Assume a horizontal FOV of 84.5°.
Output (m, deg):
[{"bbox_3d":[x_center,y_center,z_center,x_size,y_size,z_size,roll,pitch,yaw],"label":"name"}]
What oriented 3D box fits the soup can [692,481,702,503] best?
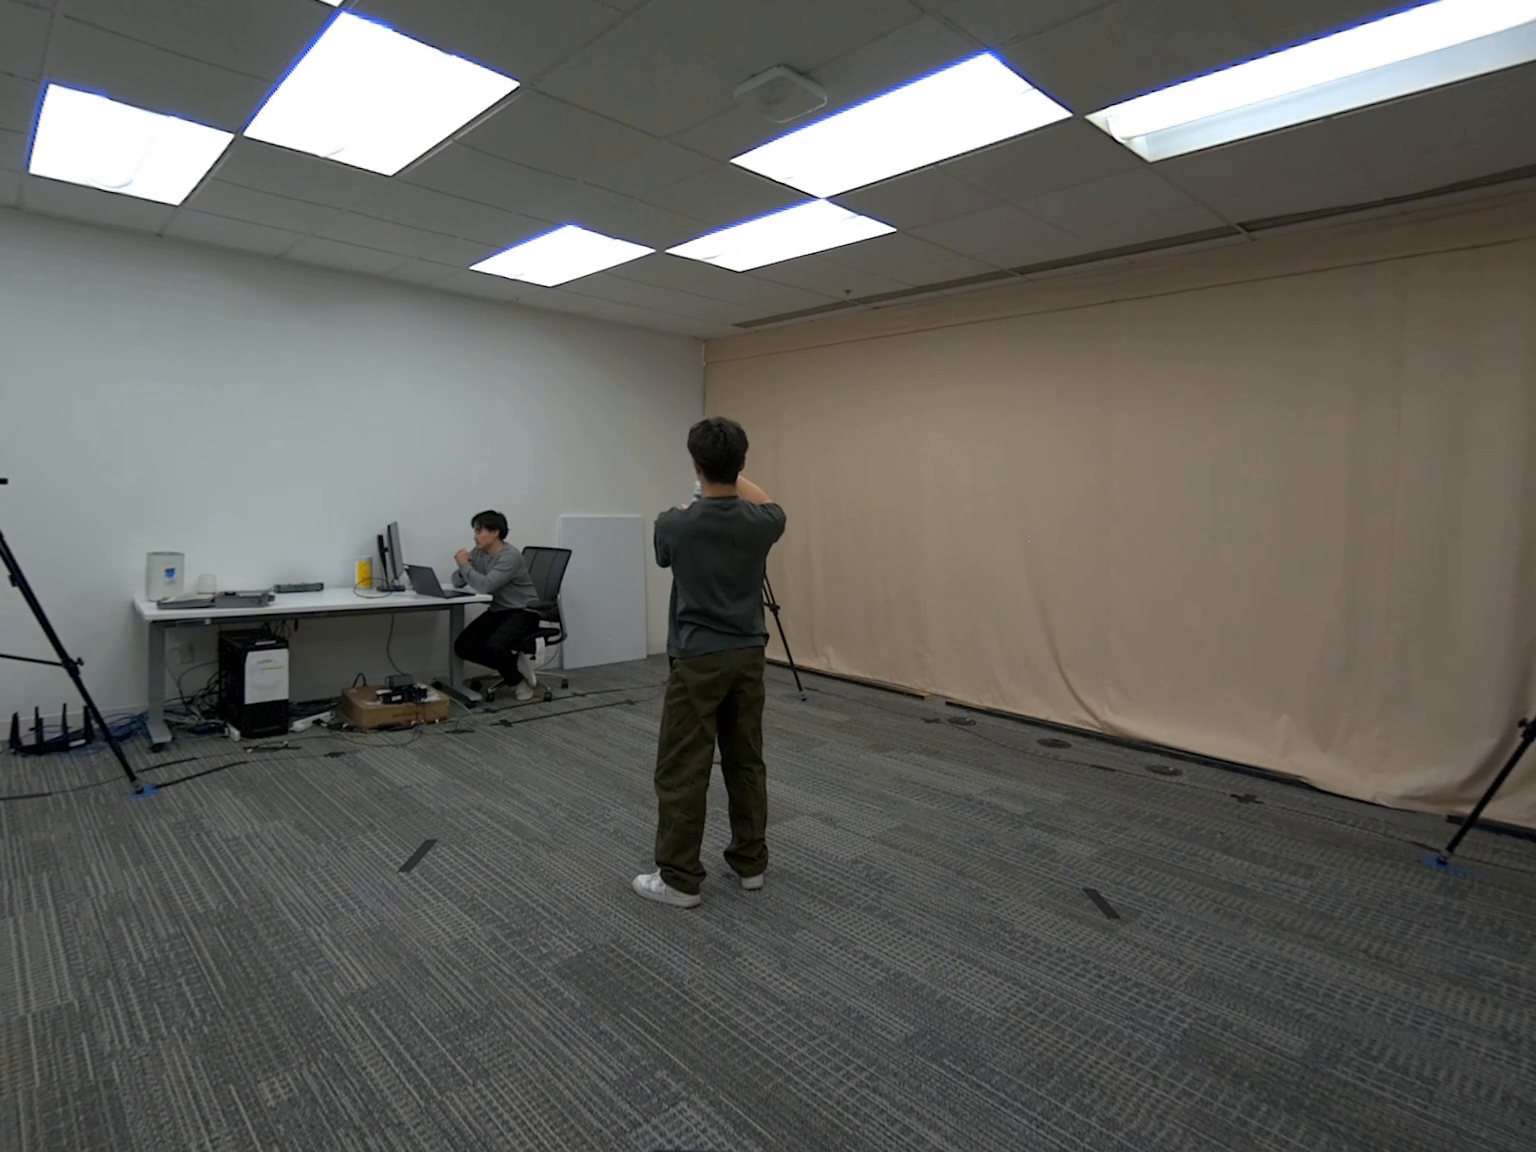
[{"bbox_3d":[-0.267,-0.324,3.432,0.067,0.121,0.067,3,1,-1],"label":"soup can"}]
